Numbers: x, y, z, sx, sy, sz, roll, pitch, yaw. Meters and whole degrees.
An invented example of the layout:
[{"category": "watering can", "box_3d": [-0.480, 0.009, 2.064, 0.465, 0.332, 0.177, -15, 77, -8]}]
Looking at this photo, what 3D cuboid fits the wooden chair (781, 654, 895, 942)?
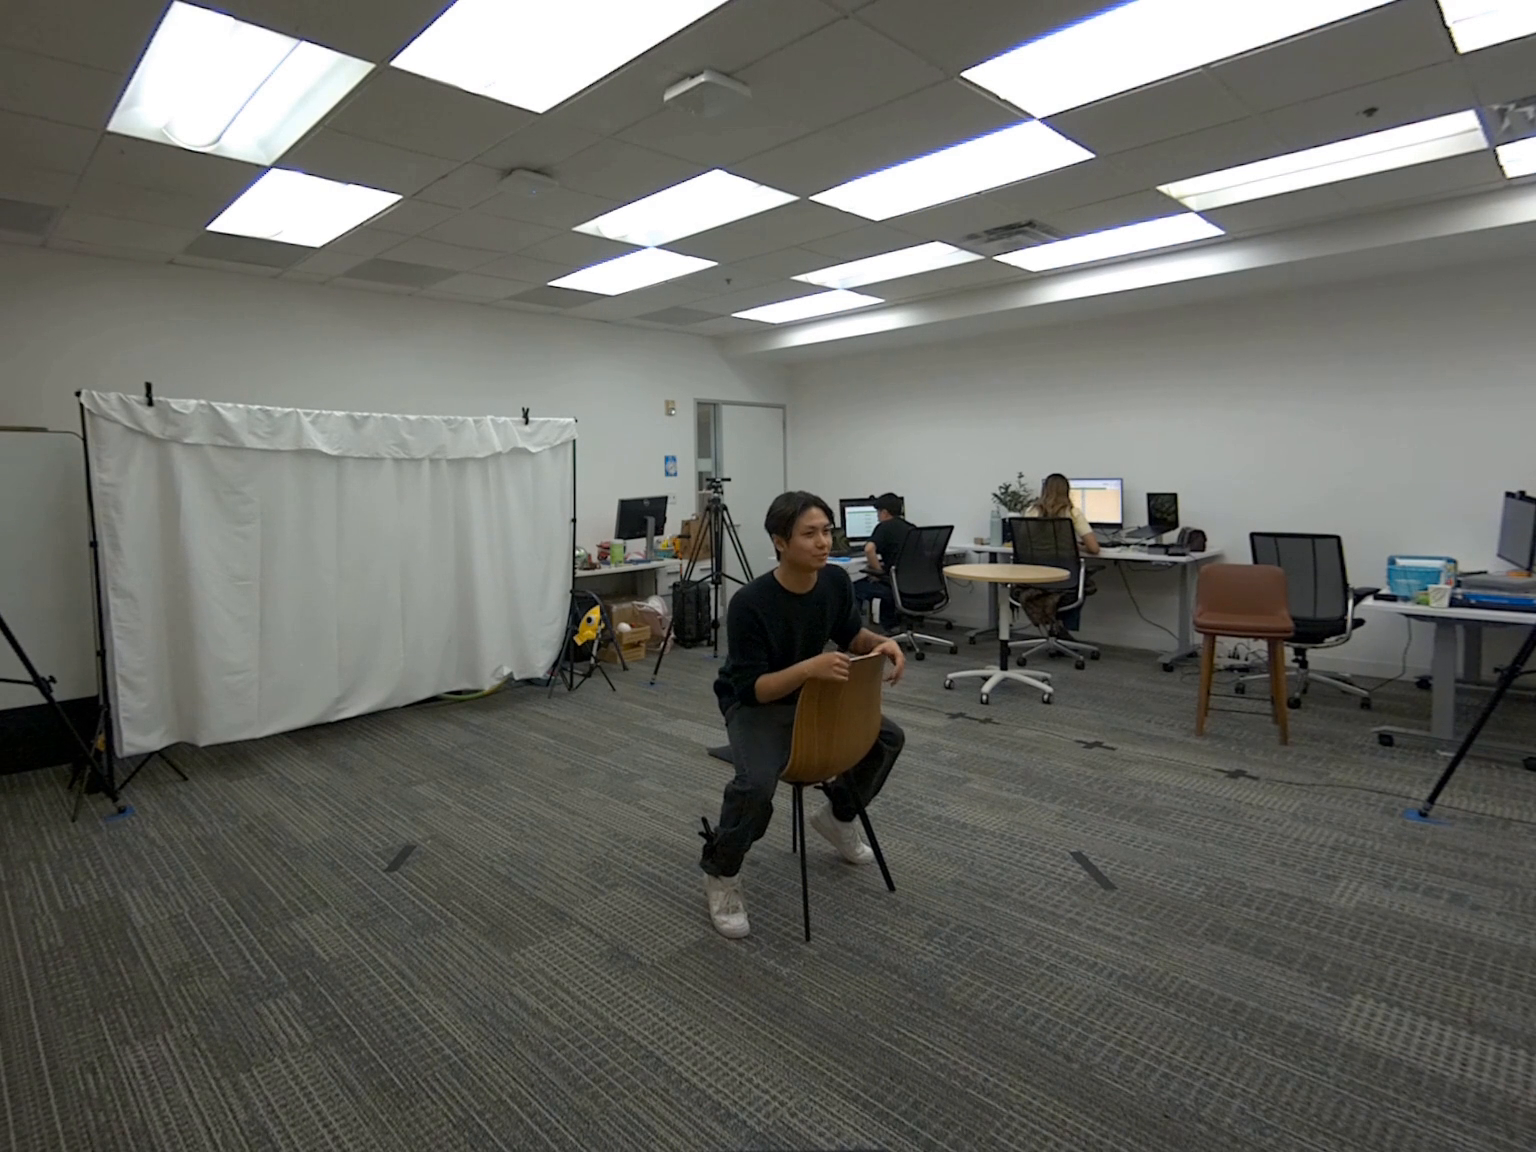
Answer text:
[{"category": "wooden chair", "box_3d": [0.098, 0.642, 2.857, 0.465, 0.872, 0.540, -6, 10, -45]}]
